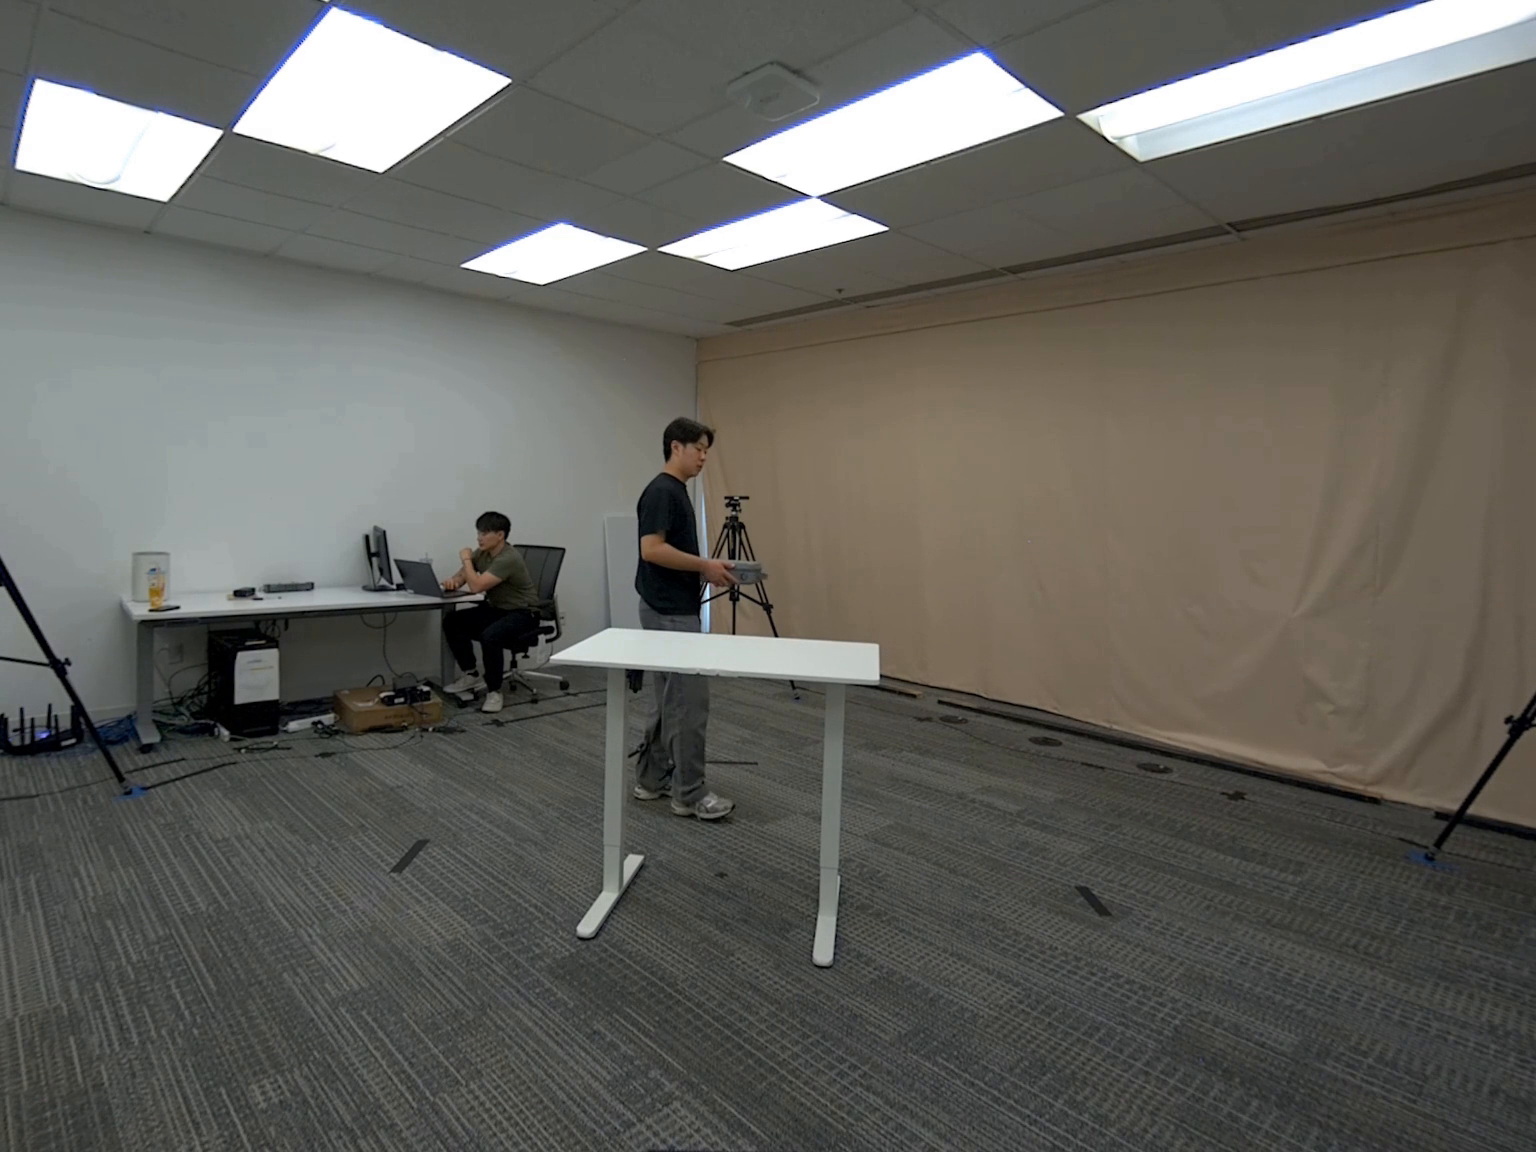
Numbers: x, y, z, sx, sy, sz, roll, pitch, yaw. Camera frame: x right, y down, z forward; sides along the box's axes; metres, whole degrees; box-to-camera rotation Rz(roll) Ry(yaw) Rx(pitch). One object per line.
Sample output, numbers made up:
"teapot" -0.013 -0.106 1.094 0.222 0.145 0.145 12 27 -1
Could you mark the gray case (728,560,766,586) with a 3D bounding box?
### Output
"gray case" -0.158 -0.020 3.774 0.286 0.103 0.264 2 1 -6
